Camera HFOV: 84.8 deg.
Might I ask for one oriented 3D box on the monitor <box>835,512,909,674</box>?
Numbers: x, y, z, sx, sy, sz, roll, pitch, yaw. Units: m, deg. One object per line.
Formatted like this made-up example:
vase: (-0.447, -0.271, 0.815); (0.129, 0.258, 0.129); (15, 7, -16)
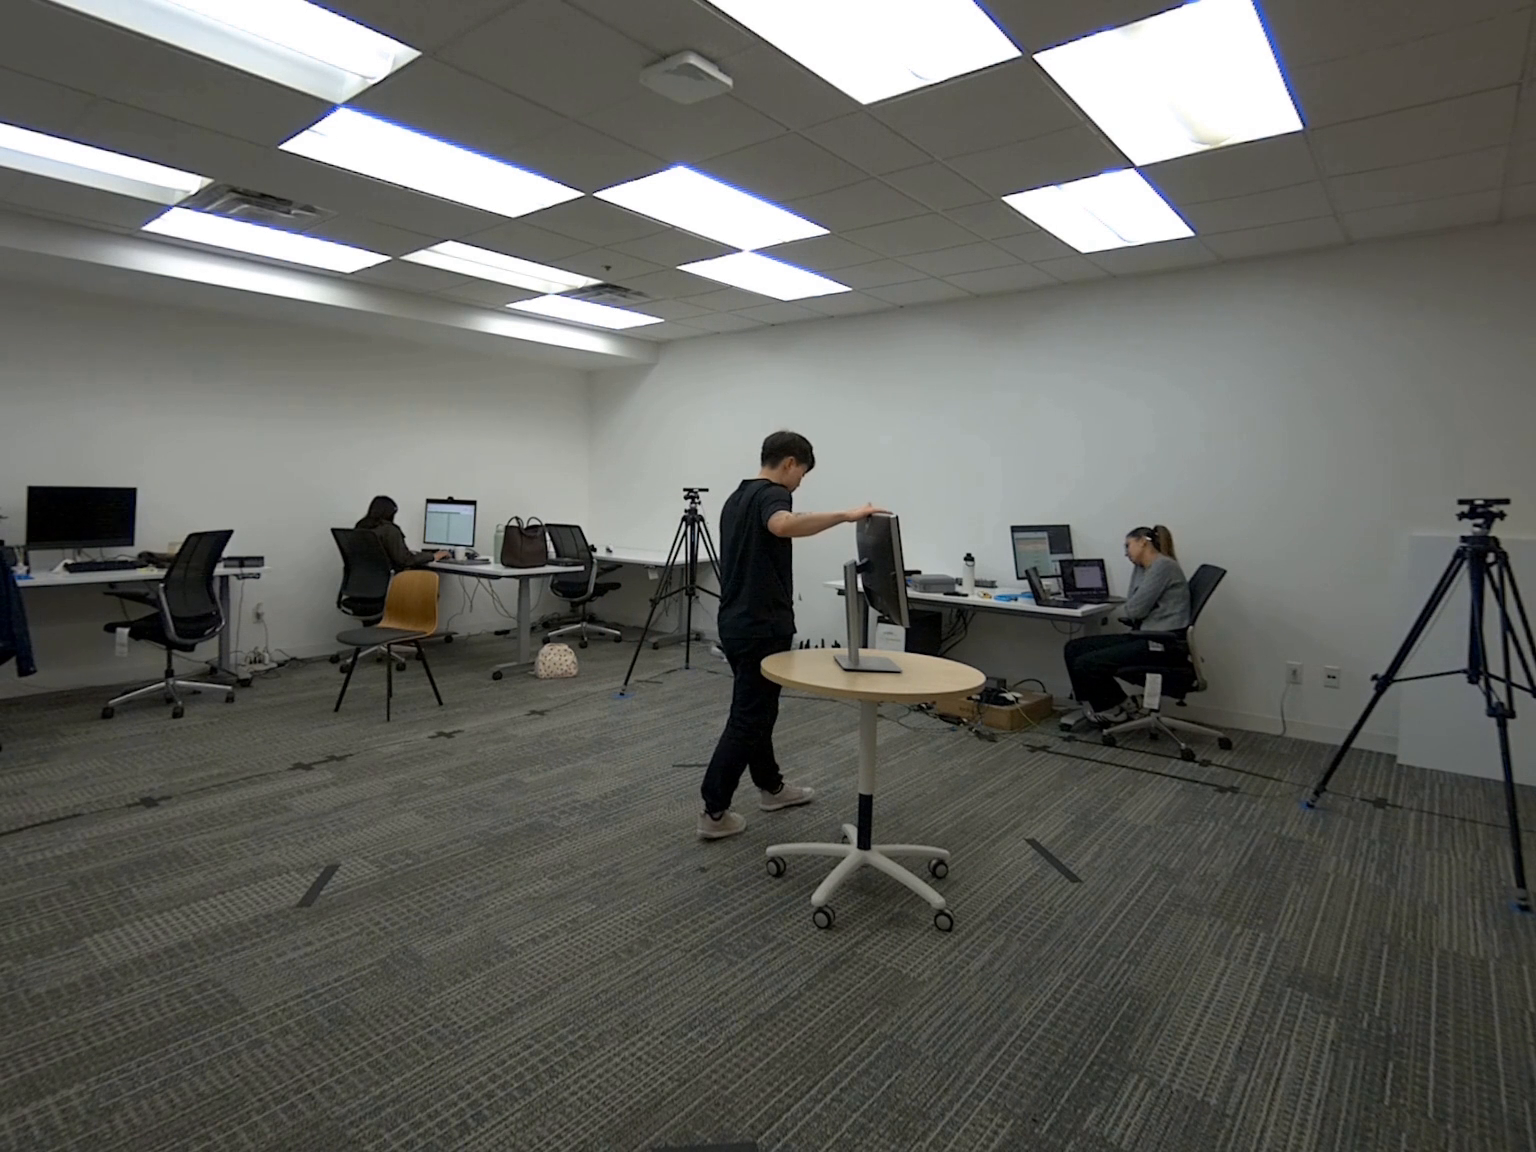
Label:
monitor: (0.352, 0.051, 2.994); (0.186, 0.521, 0.544); (3, 4, -6)
